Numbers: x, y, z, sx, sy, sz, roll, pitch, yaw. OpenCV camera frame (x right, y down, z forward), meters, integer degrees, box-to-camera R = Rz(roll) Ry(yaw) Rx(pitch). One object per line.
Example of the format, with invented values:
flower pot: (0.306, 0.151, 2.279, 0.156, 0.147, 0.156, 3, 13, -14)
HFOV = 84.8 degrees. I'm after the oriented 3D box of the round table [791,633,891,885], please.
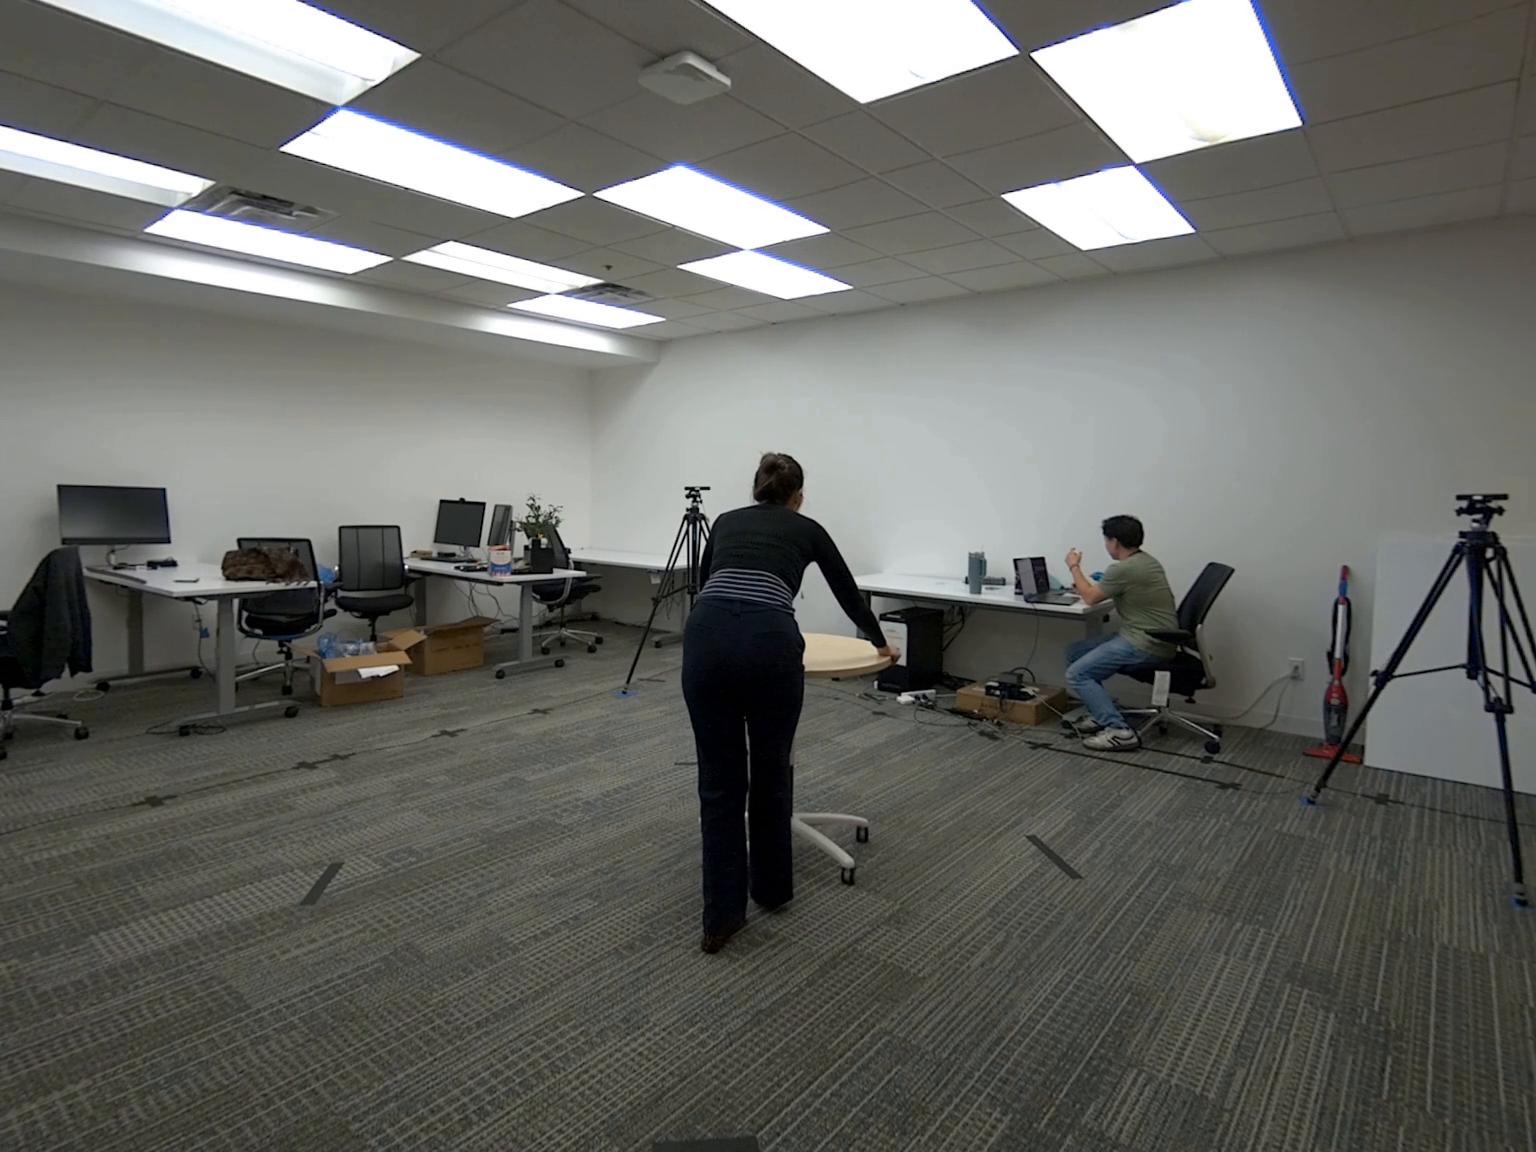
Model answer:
round table: (0.066, 0.665, 3.254, 0.763, 0.791, 0.768, 1, 4, -2)
